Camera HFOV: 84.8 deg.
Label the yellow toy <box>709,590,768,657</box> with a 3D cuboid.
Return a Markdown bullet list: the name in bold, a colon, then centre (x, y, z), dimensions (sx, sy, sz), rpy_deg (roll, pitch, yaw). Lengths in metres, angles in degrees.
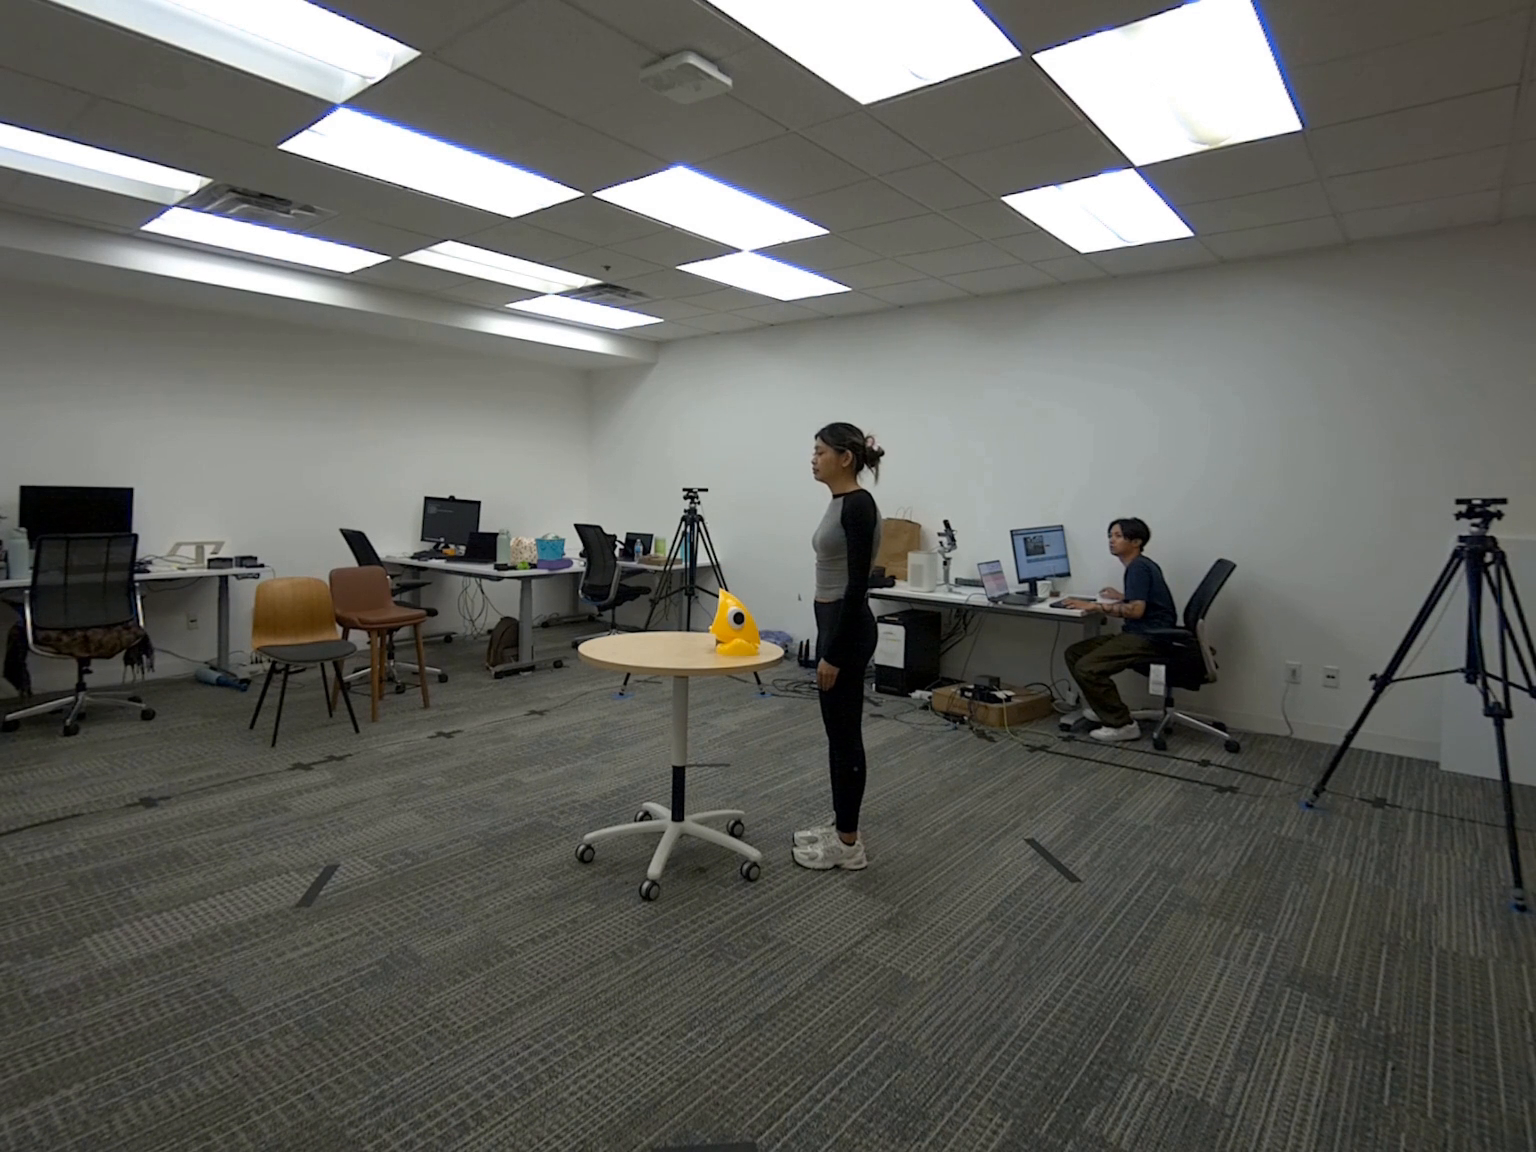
- **yellow toy**: centre (-0.130, 0.158, 3.163), dimensions (0.193, 0.230, 0.205), rpy_deg (1, 3, 0)
